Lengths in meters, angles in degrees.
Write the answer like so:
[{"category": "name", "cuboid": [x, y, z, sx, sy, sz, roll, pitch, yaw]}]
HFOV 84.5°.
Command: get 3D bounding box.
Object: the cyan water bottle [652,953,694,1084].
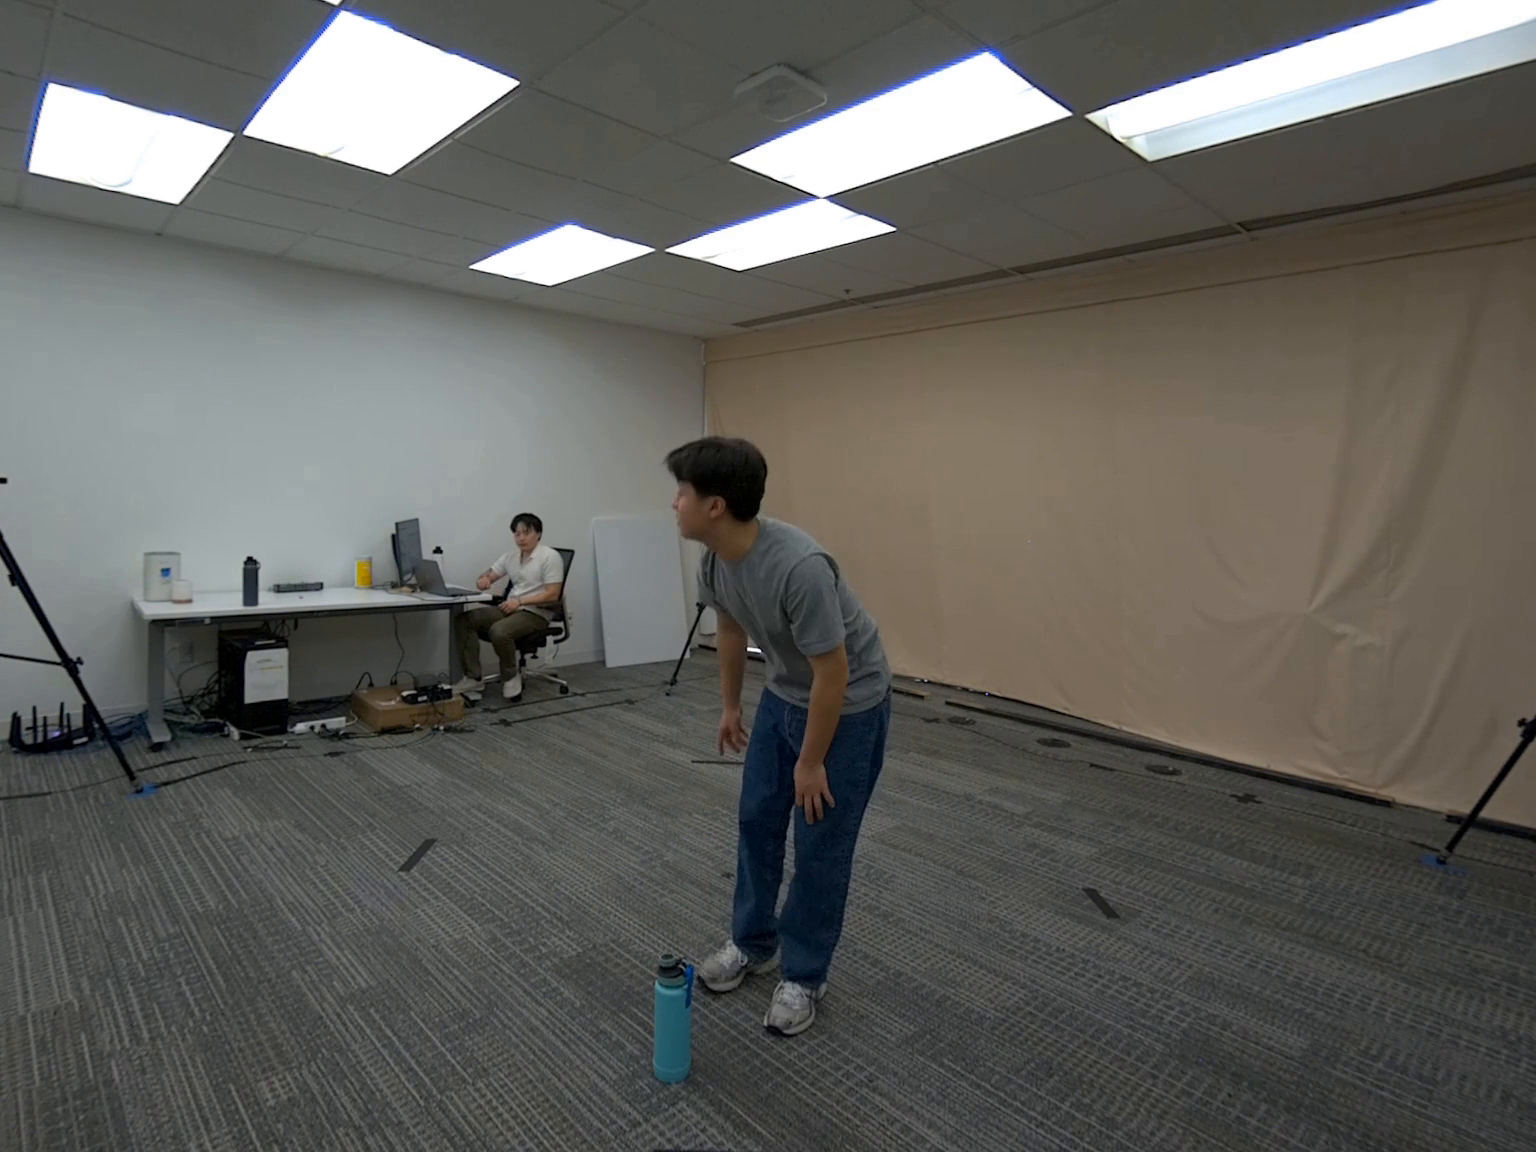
[{"category": "cyan water bottle", "cuboid": [-0.234, 1.063, 2.030, 0.092, 0.283, 0.092, 2, 2, -2]}]
